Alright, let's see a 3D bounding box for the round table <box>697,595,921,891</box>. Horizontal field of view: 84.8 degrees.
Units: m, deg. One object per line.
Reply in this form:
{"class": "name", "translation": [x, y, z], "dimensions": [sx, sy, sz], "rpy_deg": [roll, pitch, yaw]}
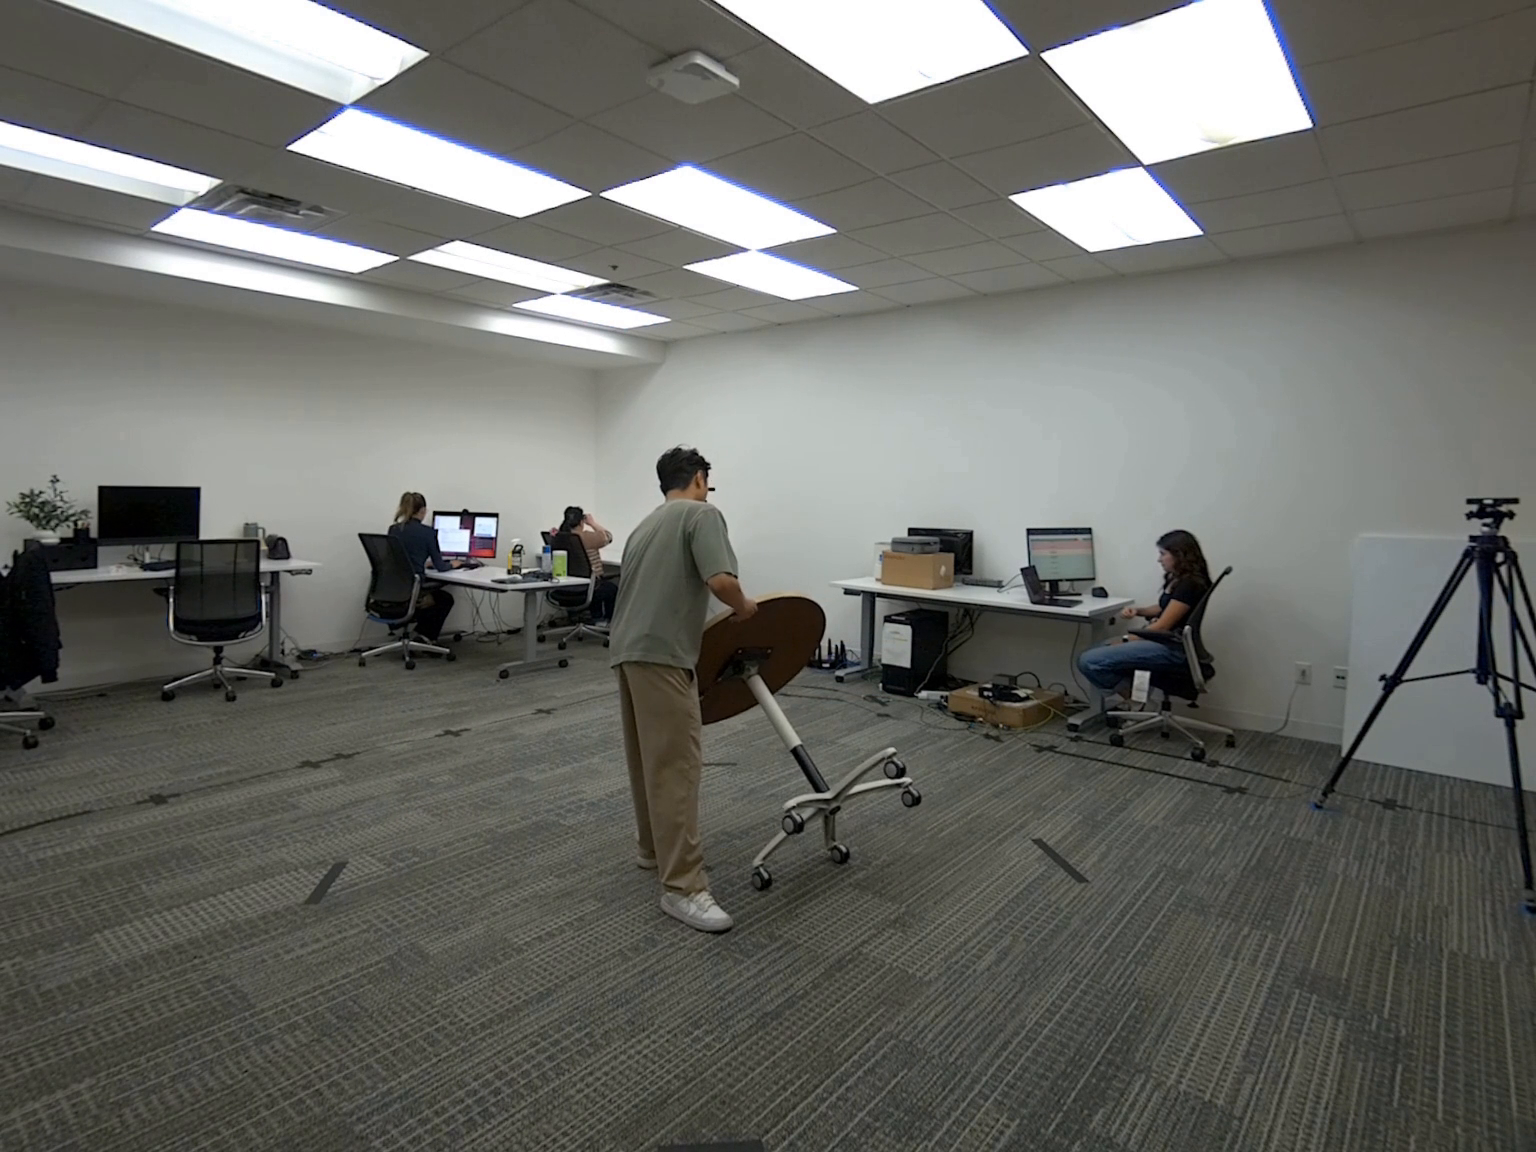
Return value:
{"class": "round table", "translation": [0.084, 0.605, 3.174], "dimensions": [0.762, 0.778, 0.818], "rpy_deg": [-2, 44, -39]}
